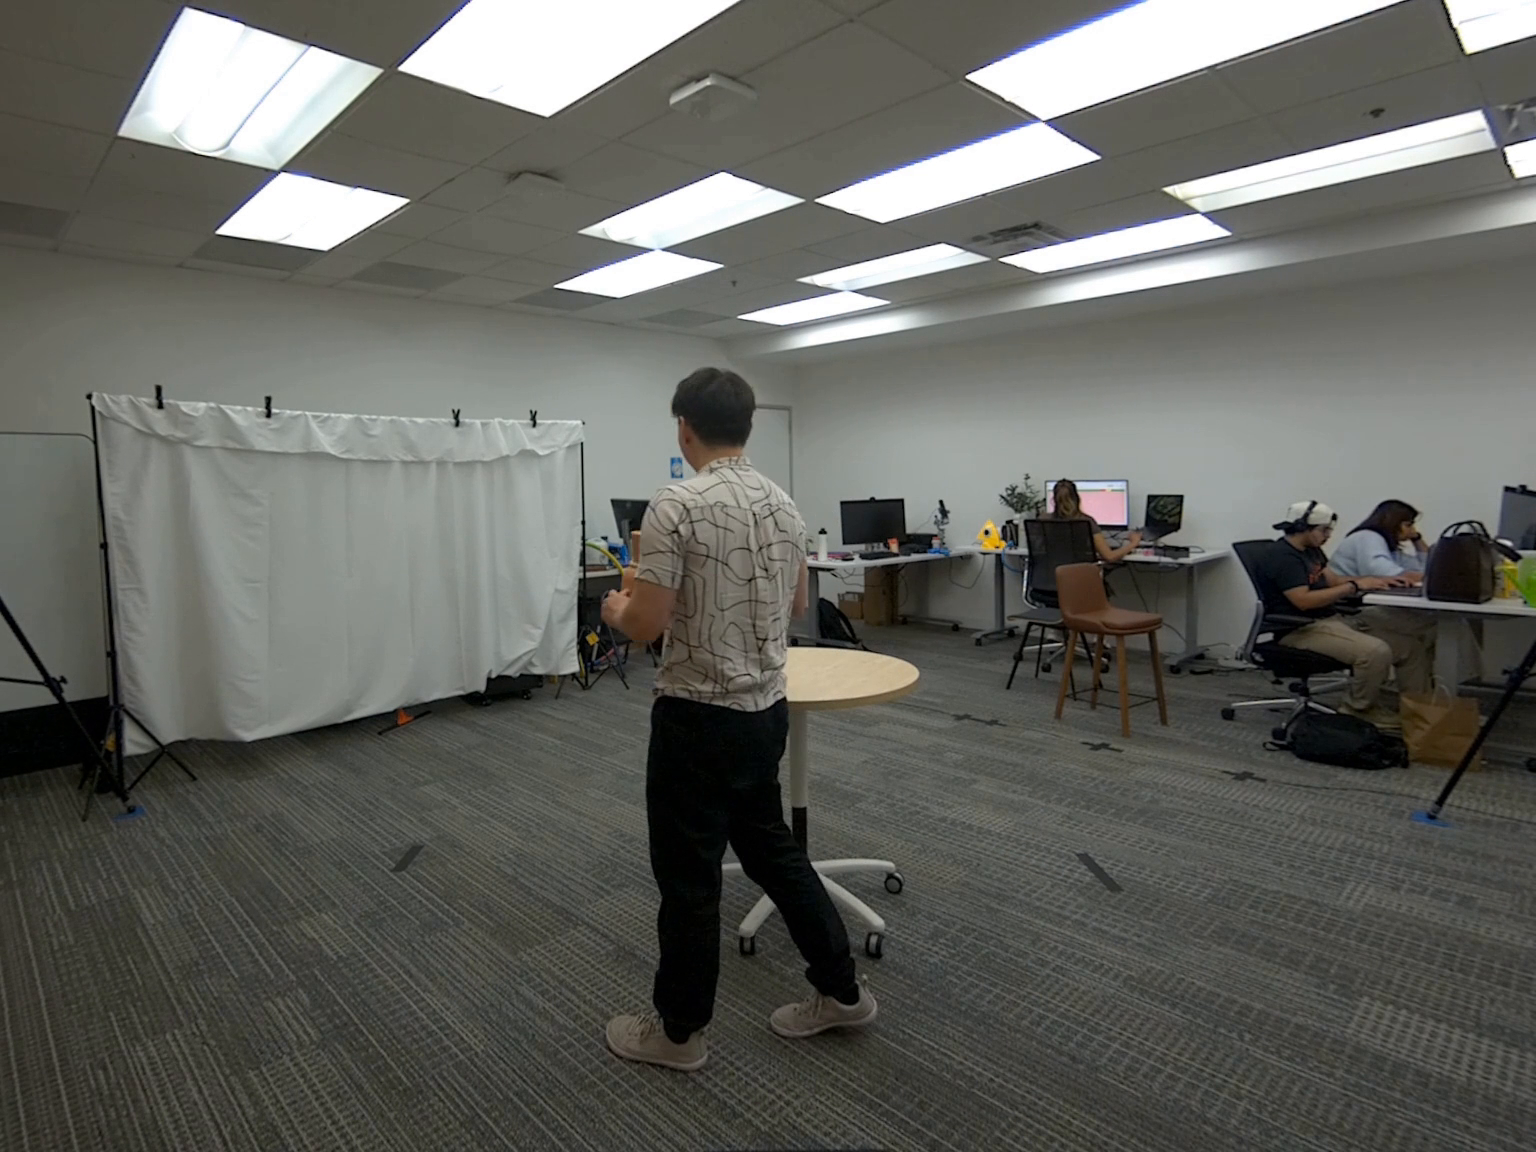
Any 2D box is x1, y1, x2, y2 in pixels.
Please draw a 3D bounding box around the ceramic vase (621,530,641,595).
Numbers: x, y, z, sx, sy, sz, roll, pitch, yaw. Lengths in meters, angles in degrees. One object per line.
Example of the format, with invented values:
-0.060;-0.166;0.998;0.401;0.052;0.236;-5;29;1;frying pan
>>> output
-0.320;0.000;2.260;0.135;0.218;0.159;-1;10;6;ceramic vase
